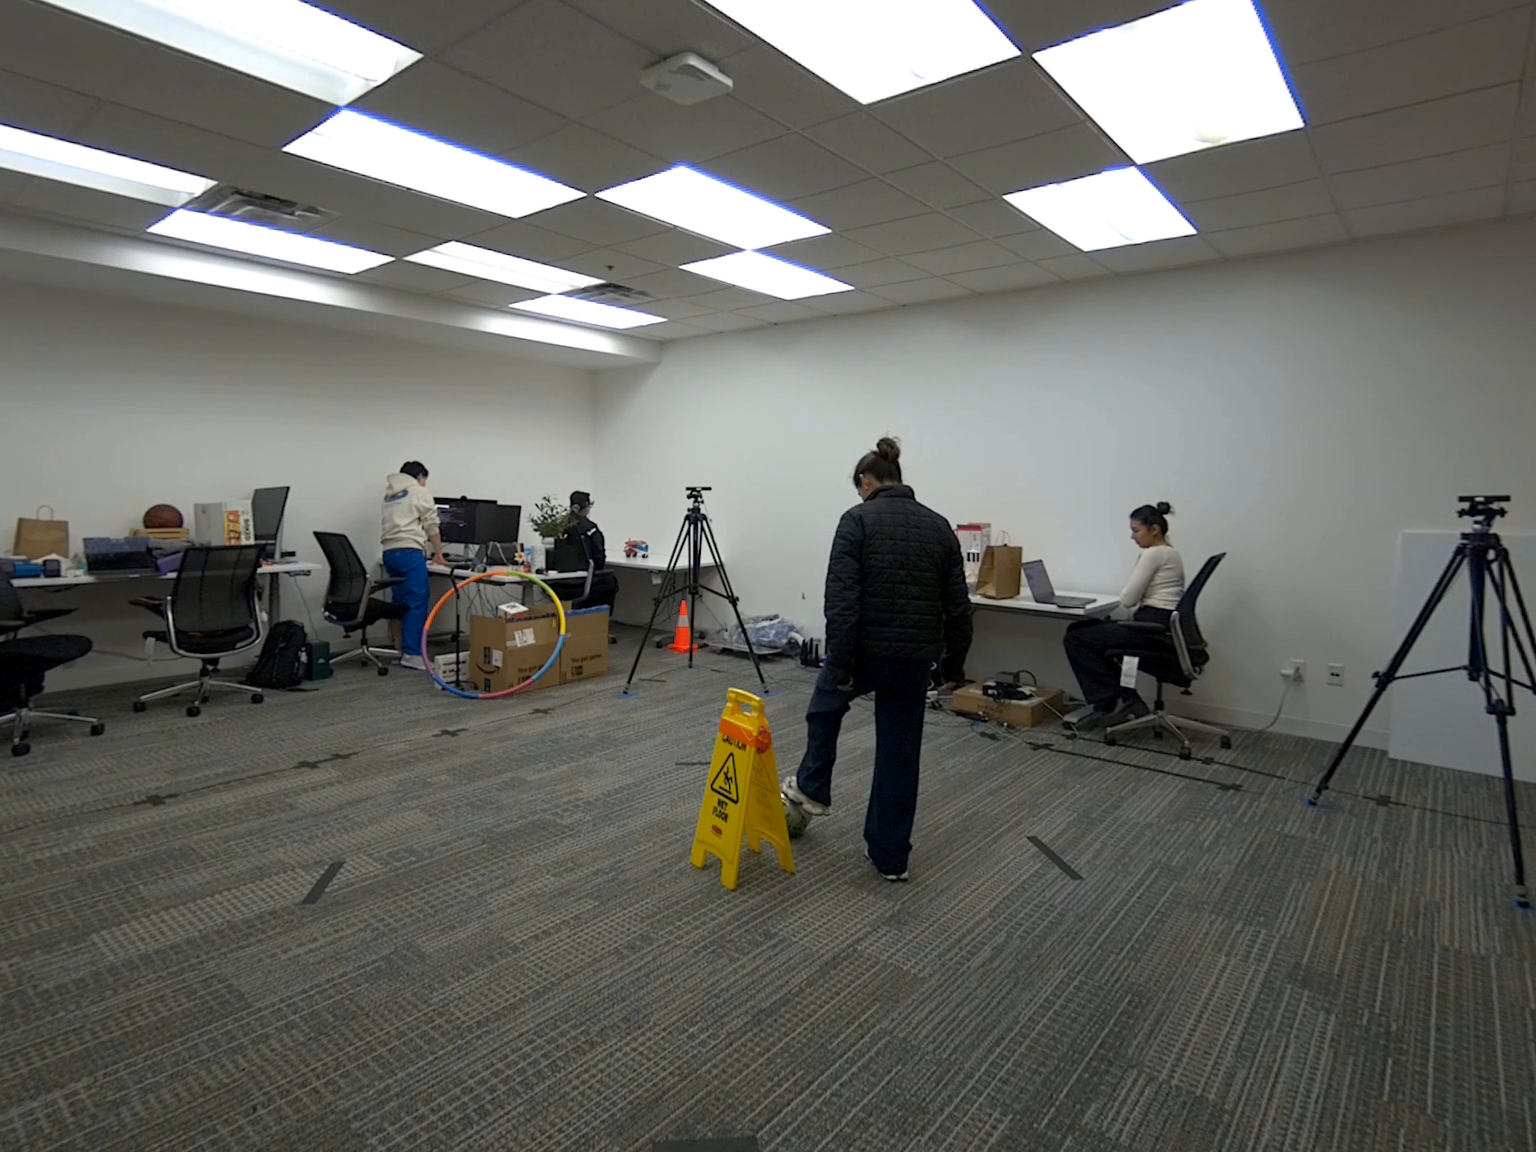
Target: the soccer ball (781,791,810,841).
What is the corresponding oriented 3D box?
[{"bbox_3d":[0.079,0.940,3.433,0.187,0.187,0.188,1,4,-2],"label":"soccer ball"}]
